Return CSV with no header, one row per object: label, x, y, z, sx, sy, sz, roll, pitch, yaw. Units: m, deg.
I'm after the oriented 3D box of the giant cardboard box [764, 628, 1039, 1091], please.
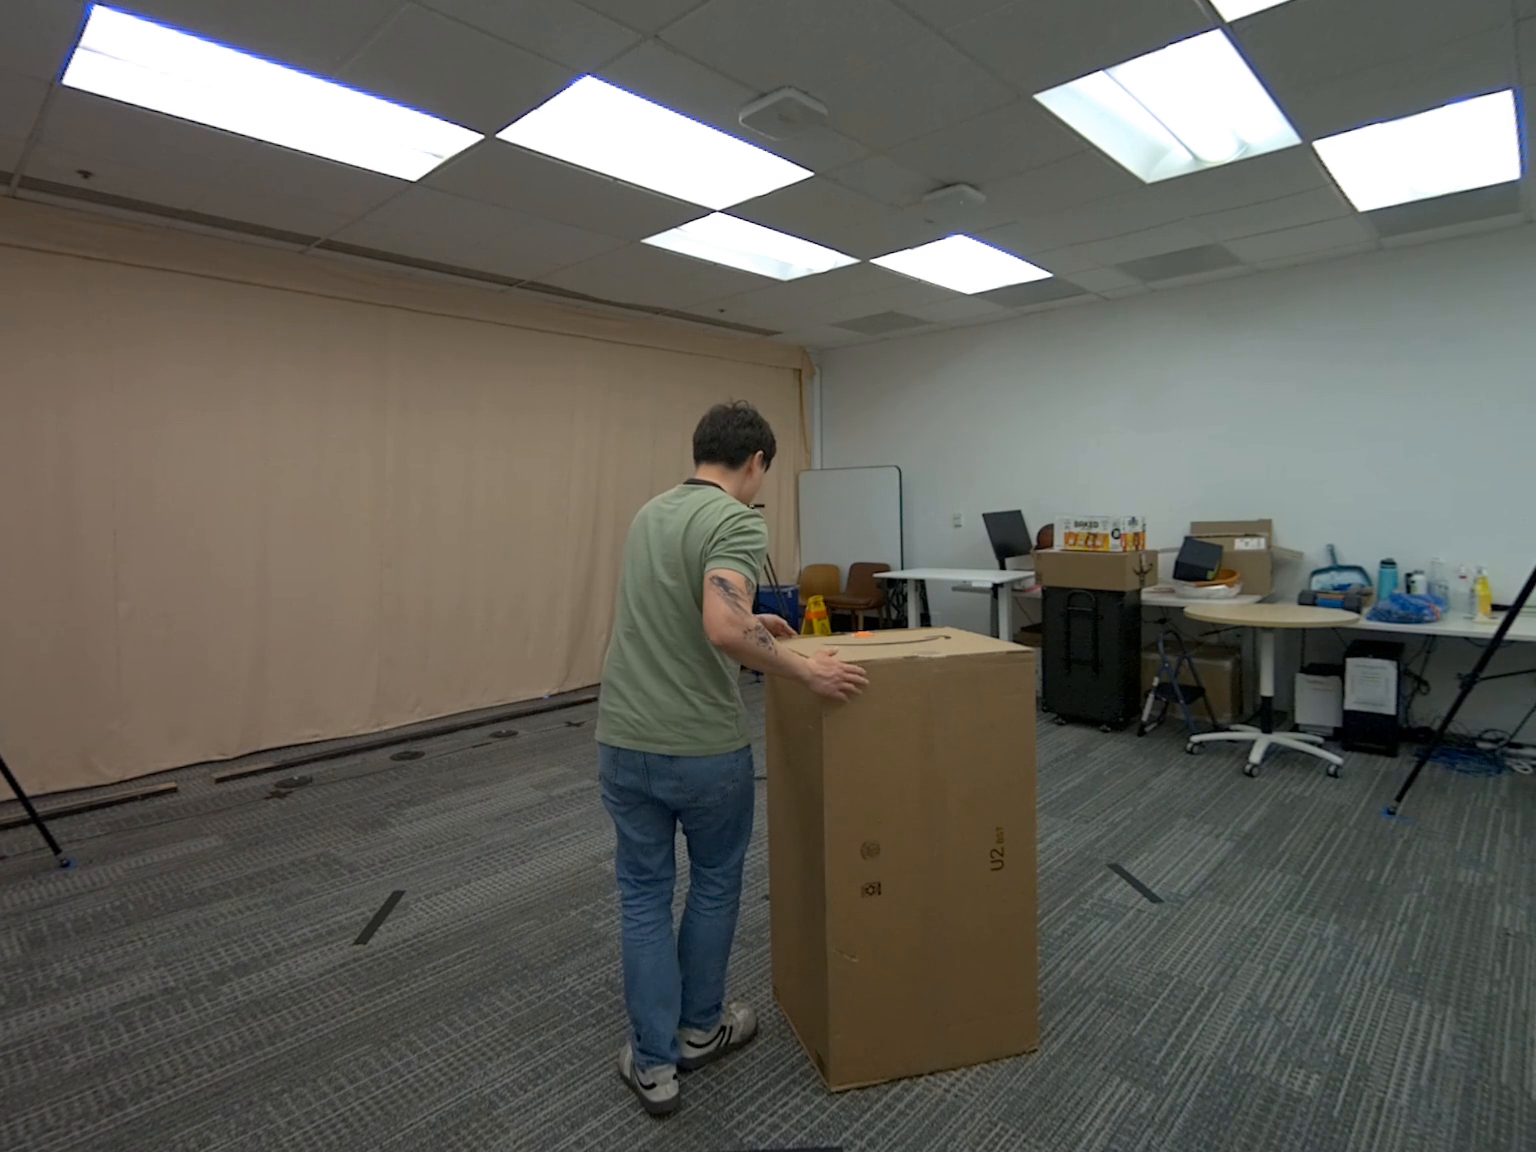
giant cardboard box,0.345,0.688,2.234,0.568,1.024,0.434,-2,3,-17
